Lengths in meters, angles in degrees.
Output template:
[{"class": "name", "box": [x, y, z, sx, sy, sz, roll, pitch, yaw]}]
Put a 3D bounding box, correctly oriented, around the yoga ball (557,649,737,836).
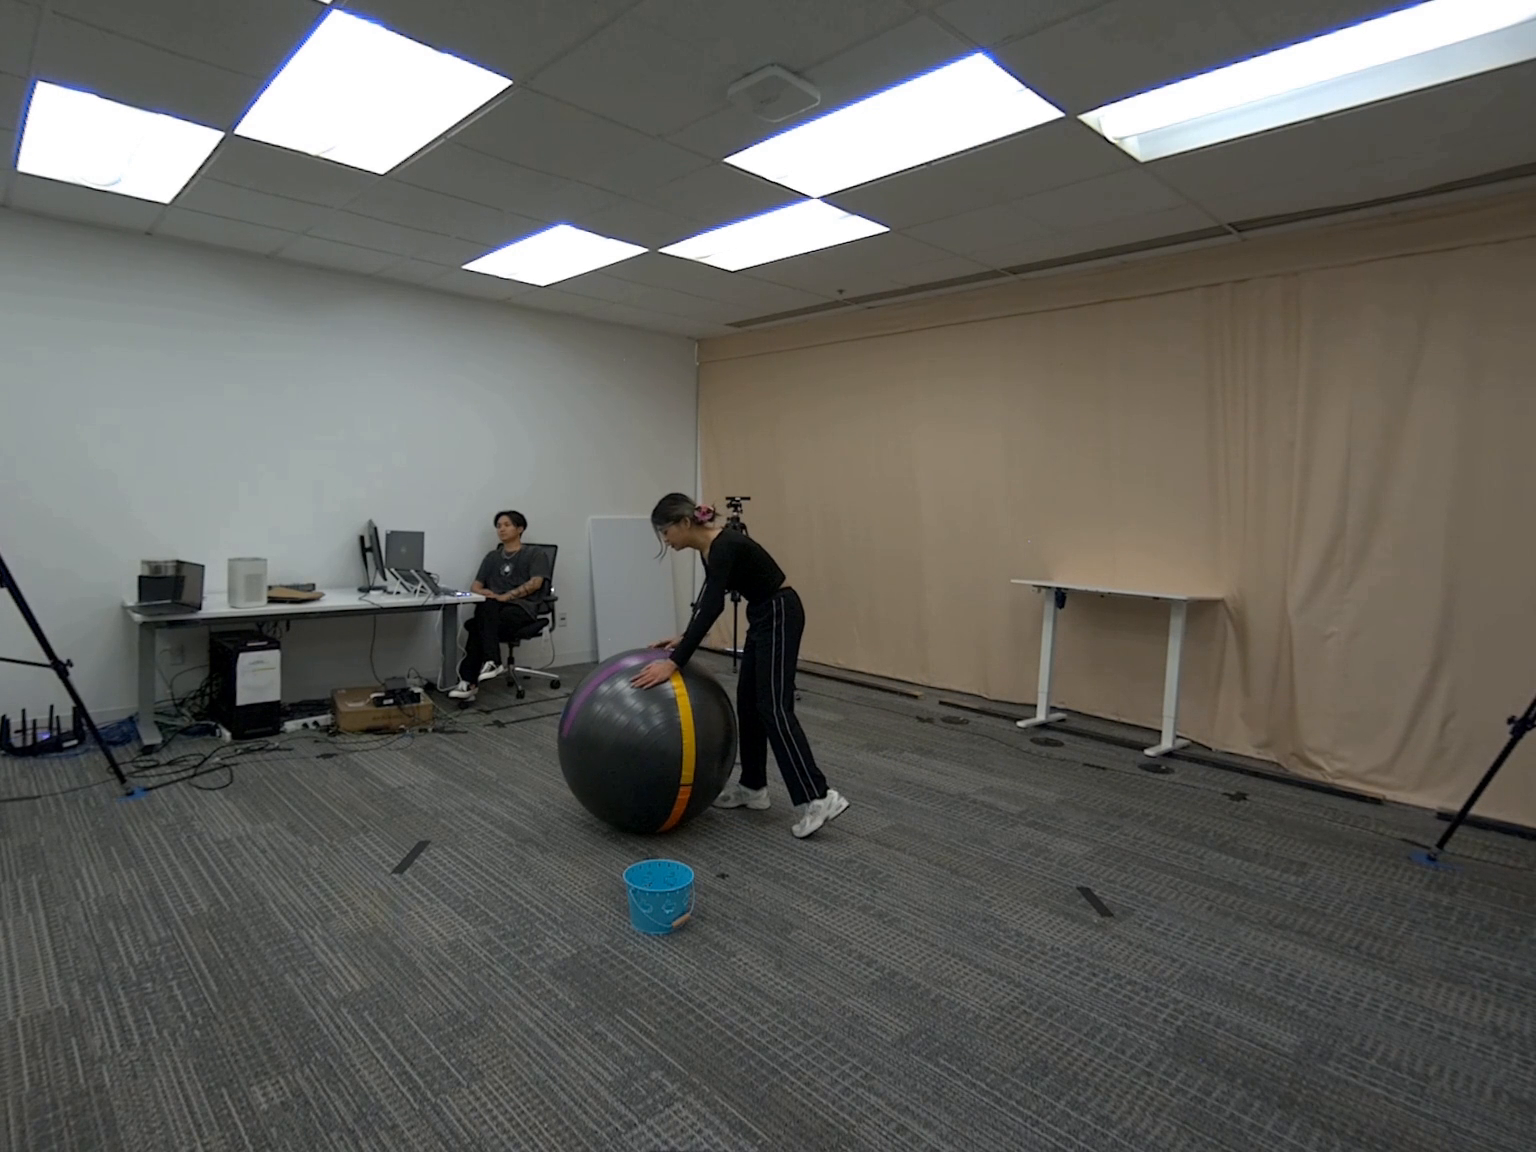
[{"class": "yoga ball", "box": [-0.515, 0.690, 3.561, 0.757, 0.756, 0.761, 1, 4, -1]}]
